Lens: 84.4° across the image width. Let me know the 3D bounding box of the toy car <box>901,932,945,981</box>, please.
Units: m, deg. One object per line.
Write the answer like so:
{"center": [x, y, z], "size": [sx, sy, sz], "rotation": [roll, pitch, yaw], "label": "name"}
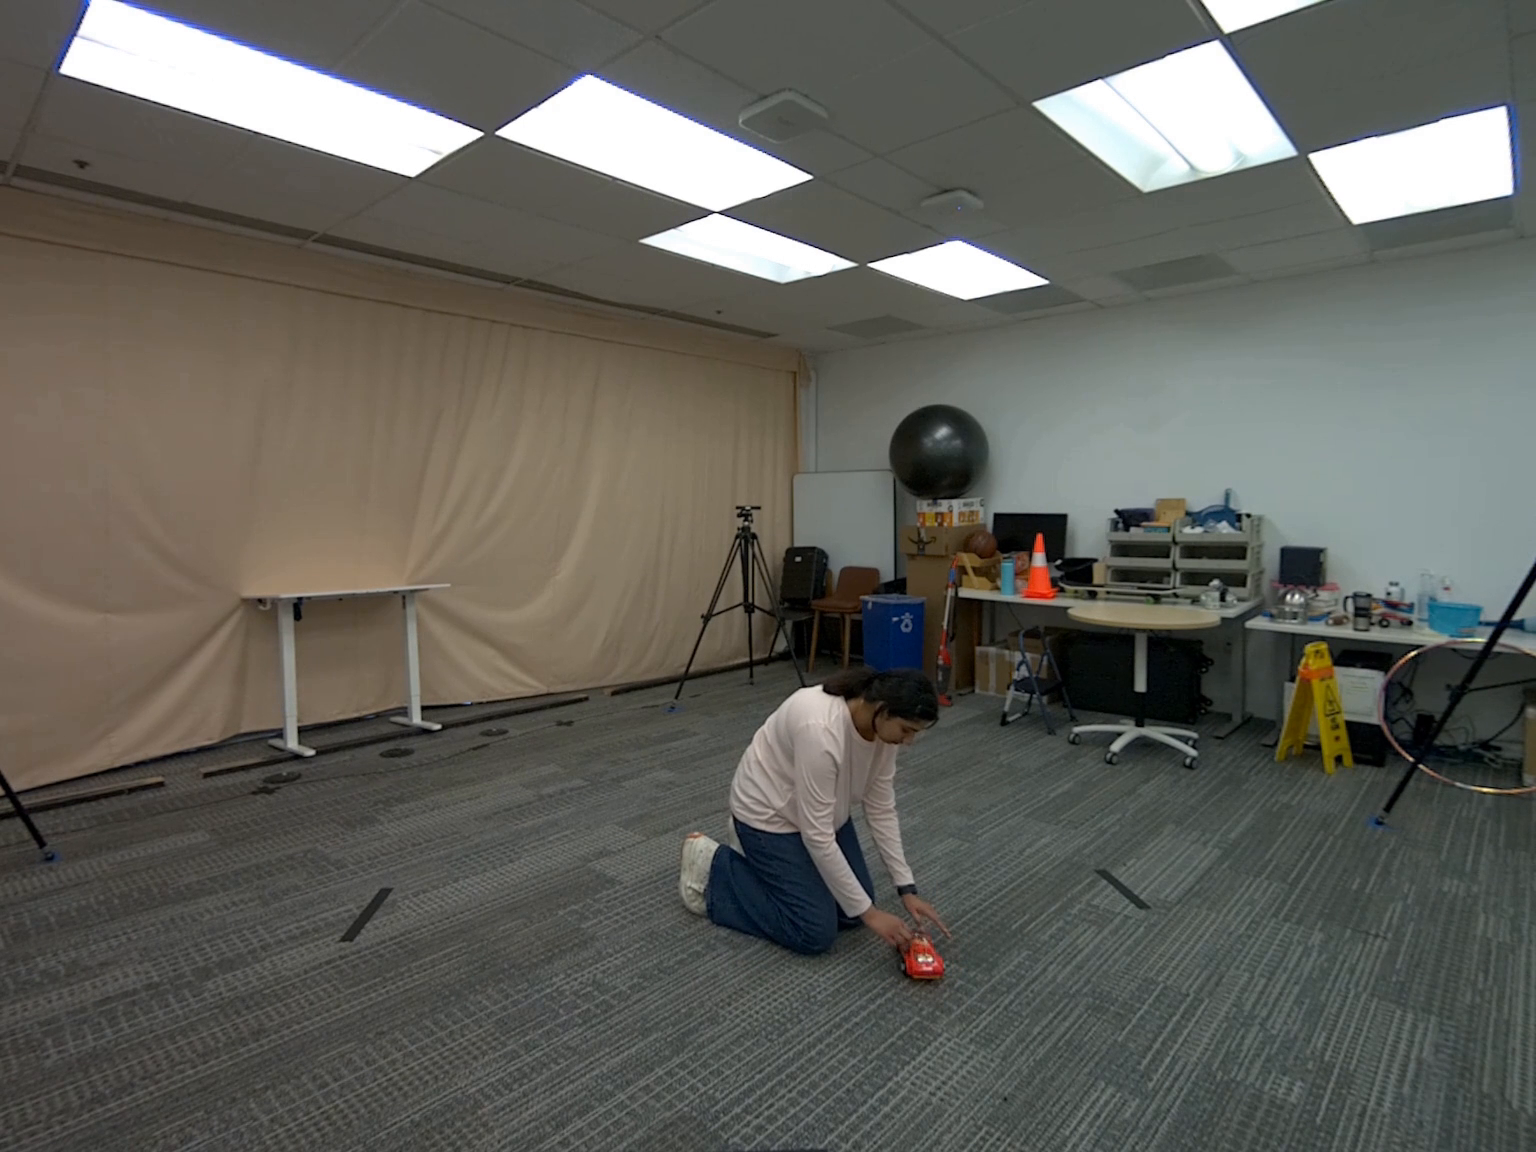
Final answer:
{"center": [0.460, 1.151, 2.535], "size": [0.130, 0.084, 0.253], "rotation": [2, -9, 0], "label": "toy car"}
